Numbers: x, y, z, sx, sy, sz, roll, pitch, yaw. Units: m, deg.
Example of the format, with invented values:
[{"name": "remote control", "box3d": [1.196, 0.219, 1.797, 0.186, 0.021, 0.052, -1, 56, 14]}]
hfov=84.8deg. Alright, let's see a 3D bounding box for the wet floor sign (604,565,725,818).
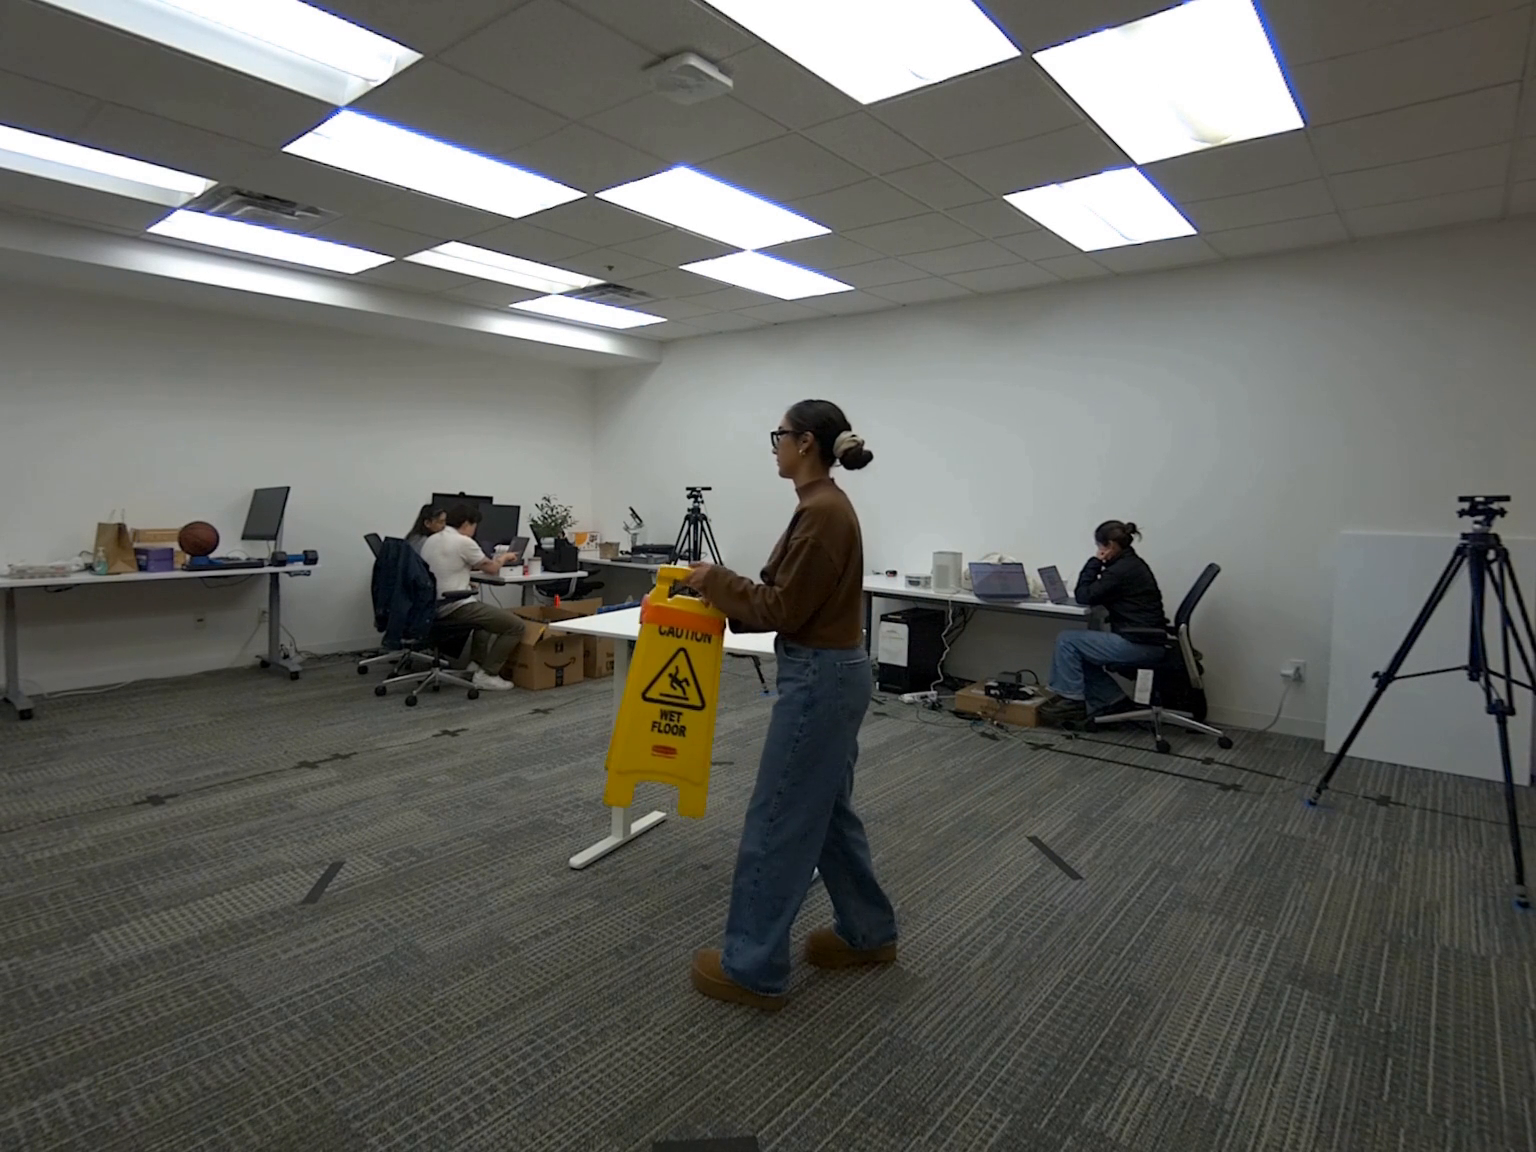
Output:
[{"name": "wet floor sign", "box3d": [-0.275, 0.296, 2.399, 0.280, 0.645, 0.293, 9, 3, -9]}]
